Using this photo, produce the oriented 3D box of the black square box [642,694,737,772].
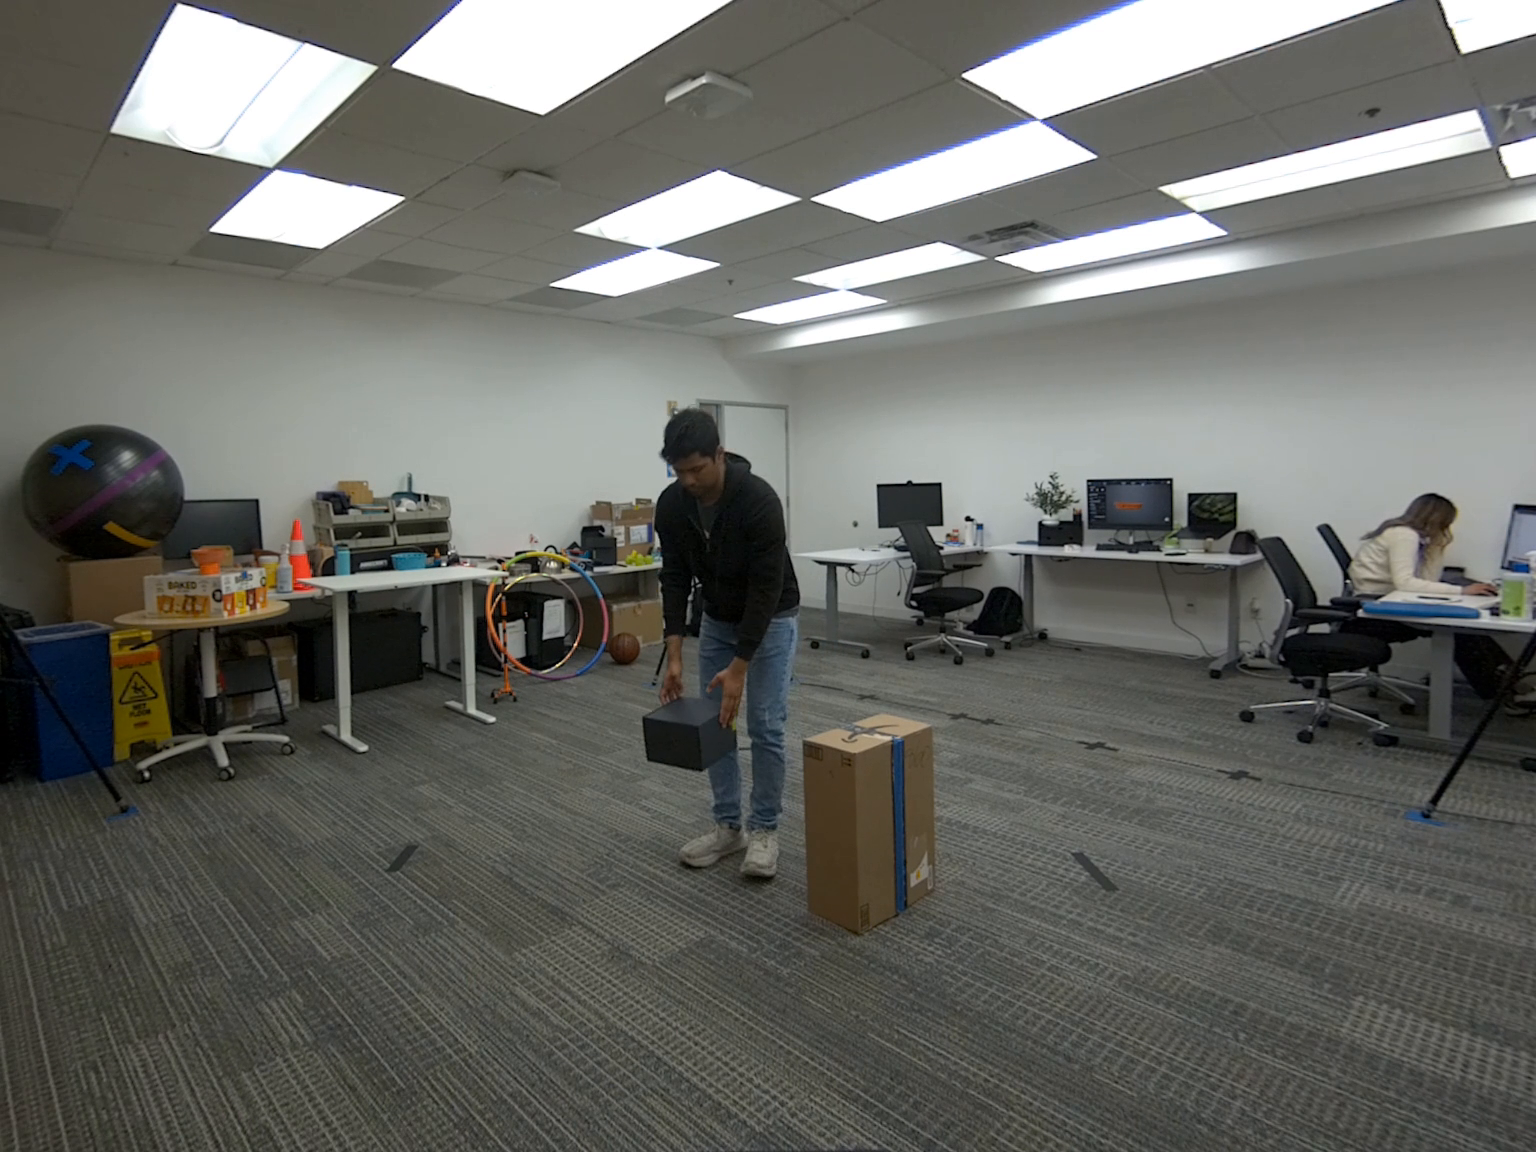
[{"bbox_3d":[-0.249,0.532,2.835,0.234,0.155,0.213,2,11,33],"label":"black square box"}]
